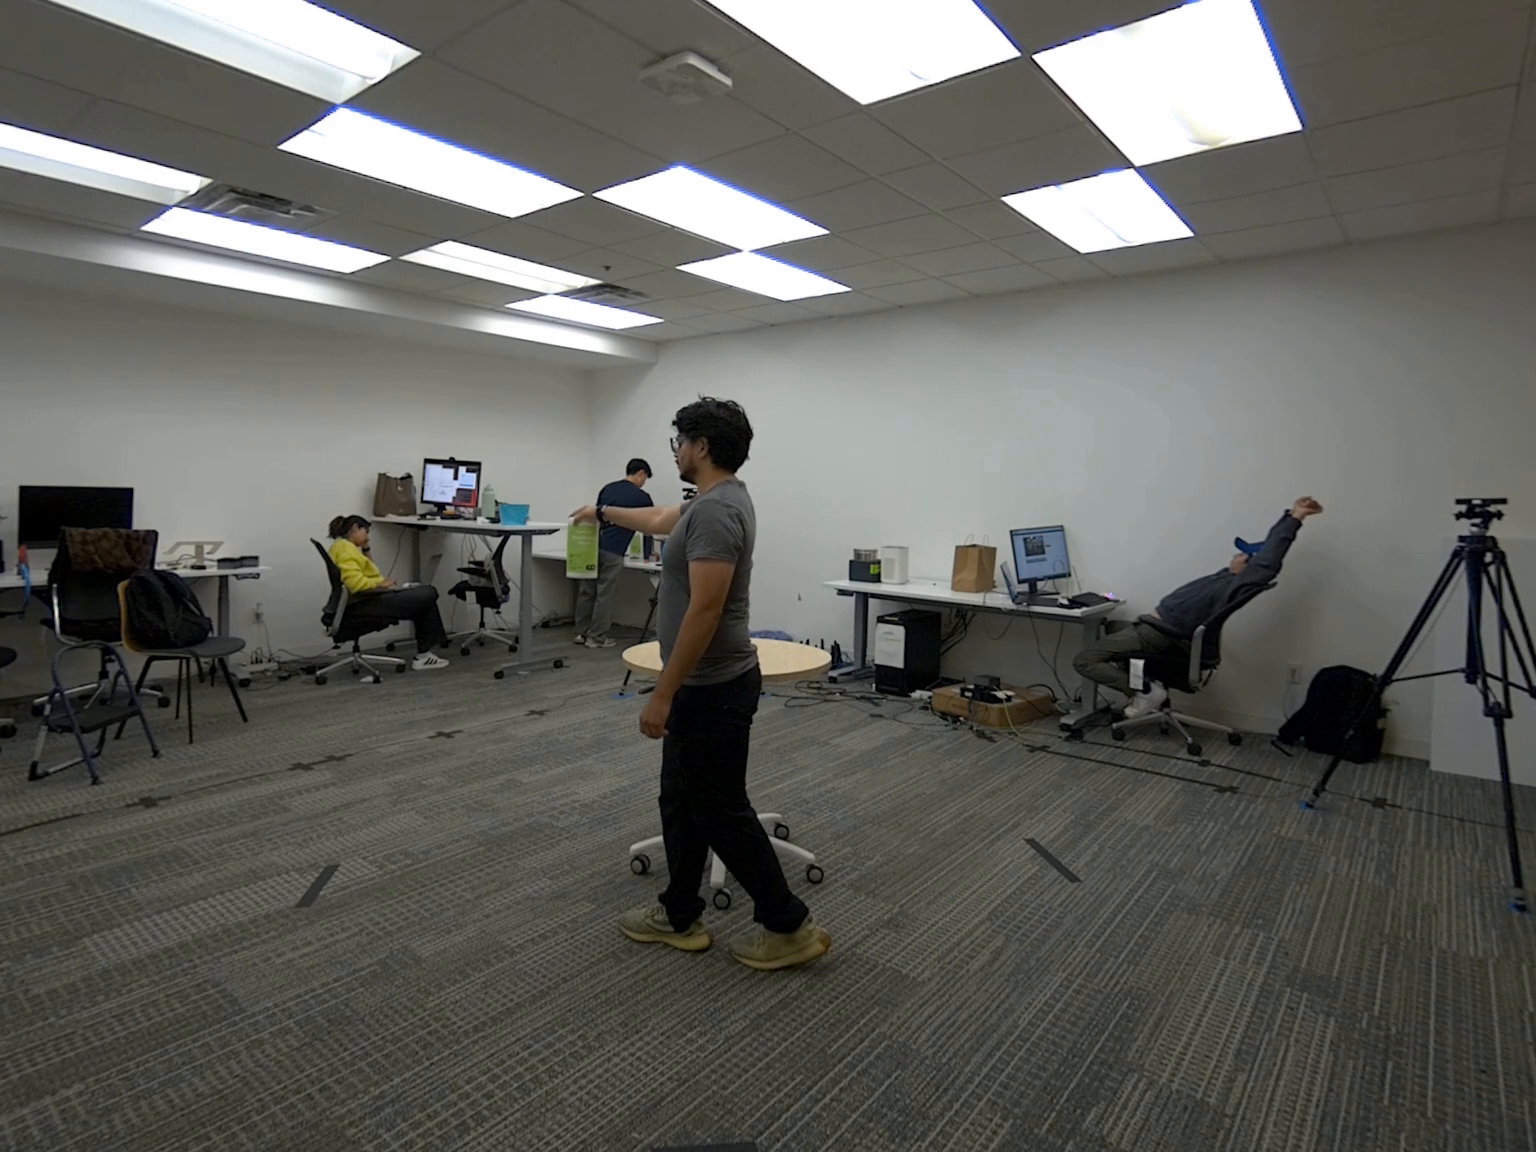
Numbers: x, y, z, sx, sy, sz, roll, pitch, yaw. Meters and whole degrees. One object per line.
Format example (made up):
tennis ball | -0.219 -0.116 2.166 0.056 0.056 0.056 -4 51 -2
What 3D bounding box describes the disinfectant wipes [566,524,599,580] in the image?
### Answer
disinfectant wipes | -0.673 -0.103 3.033 0.118 0.218 0.118 3 -1 -2
